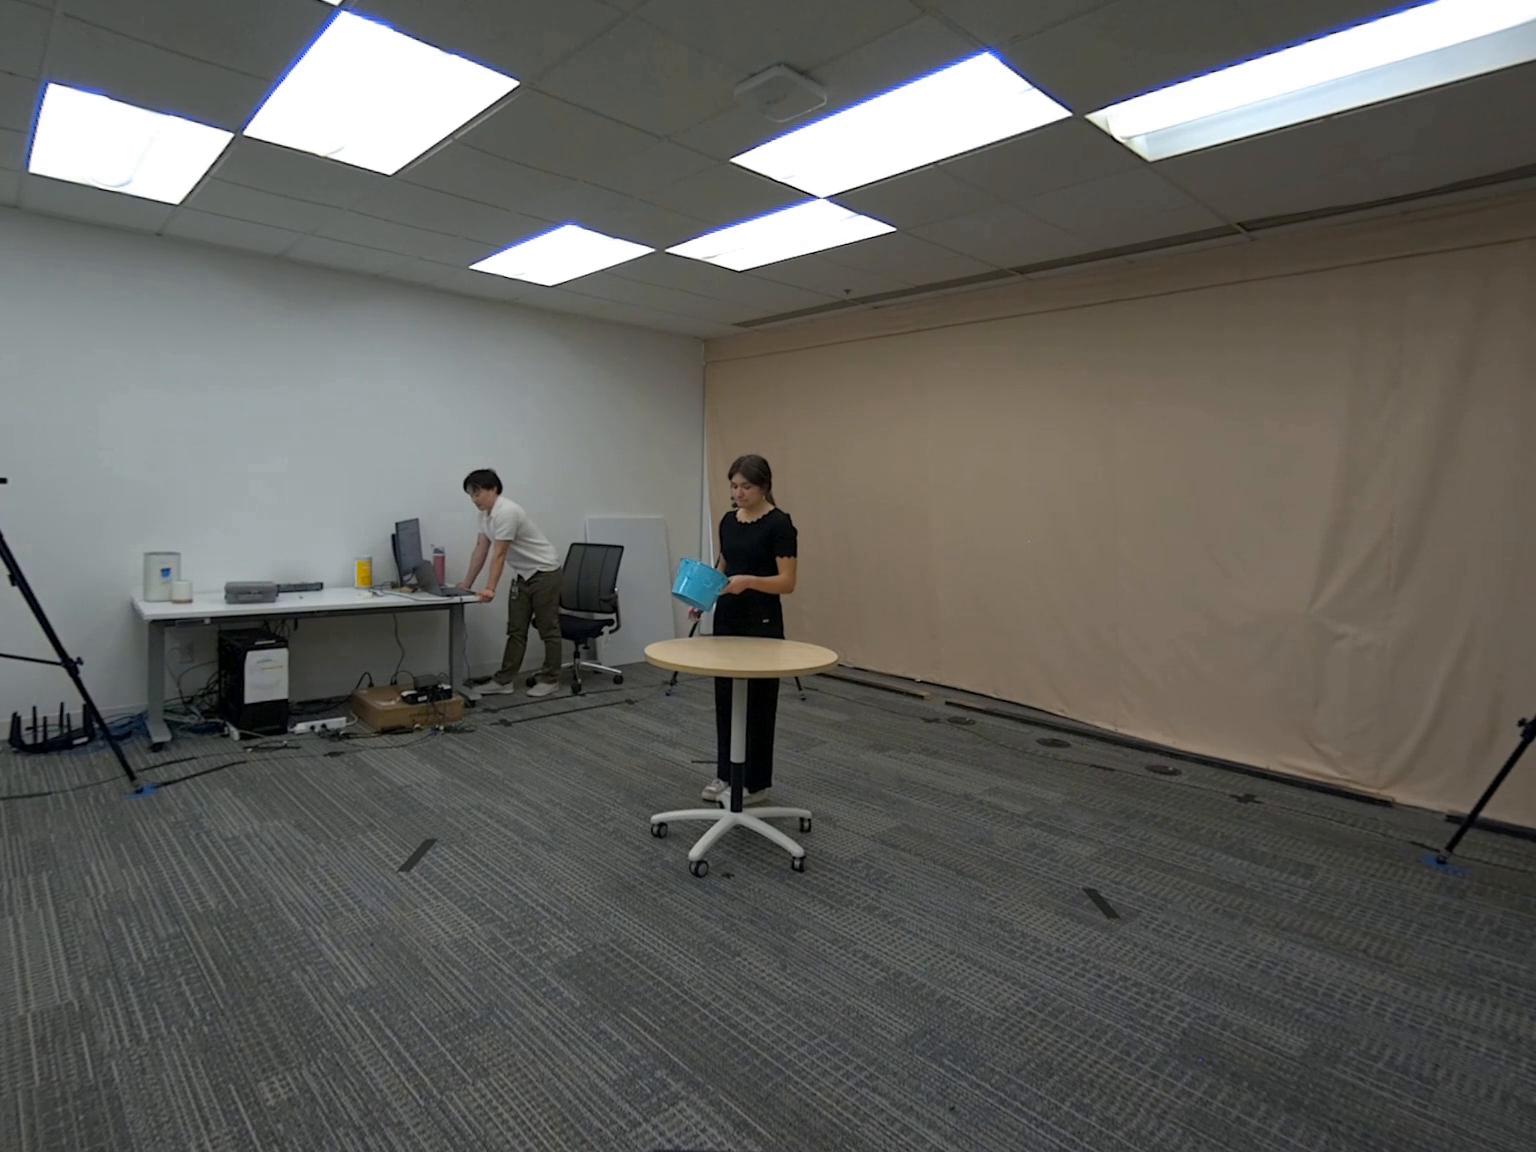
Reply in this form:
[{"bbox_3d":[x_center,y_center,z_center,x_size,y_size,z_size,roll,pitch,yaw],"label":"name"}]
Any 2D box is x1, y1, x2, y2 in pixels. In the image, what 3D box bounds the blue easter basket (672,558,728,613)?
[{"bbox_3d":[-0.304,0.046,3.584,0.245,0.156,0.241,24,-13,5],"label":"blue easter basket"}]
